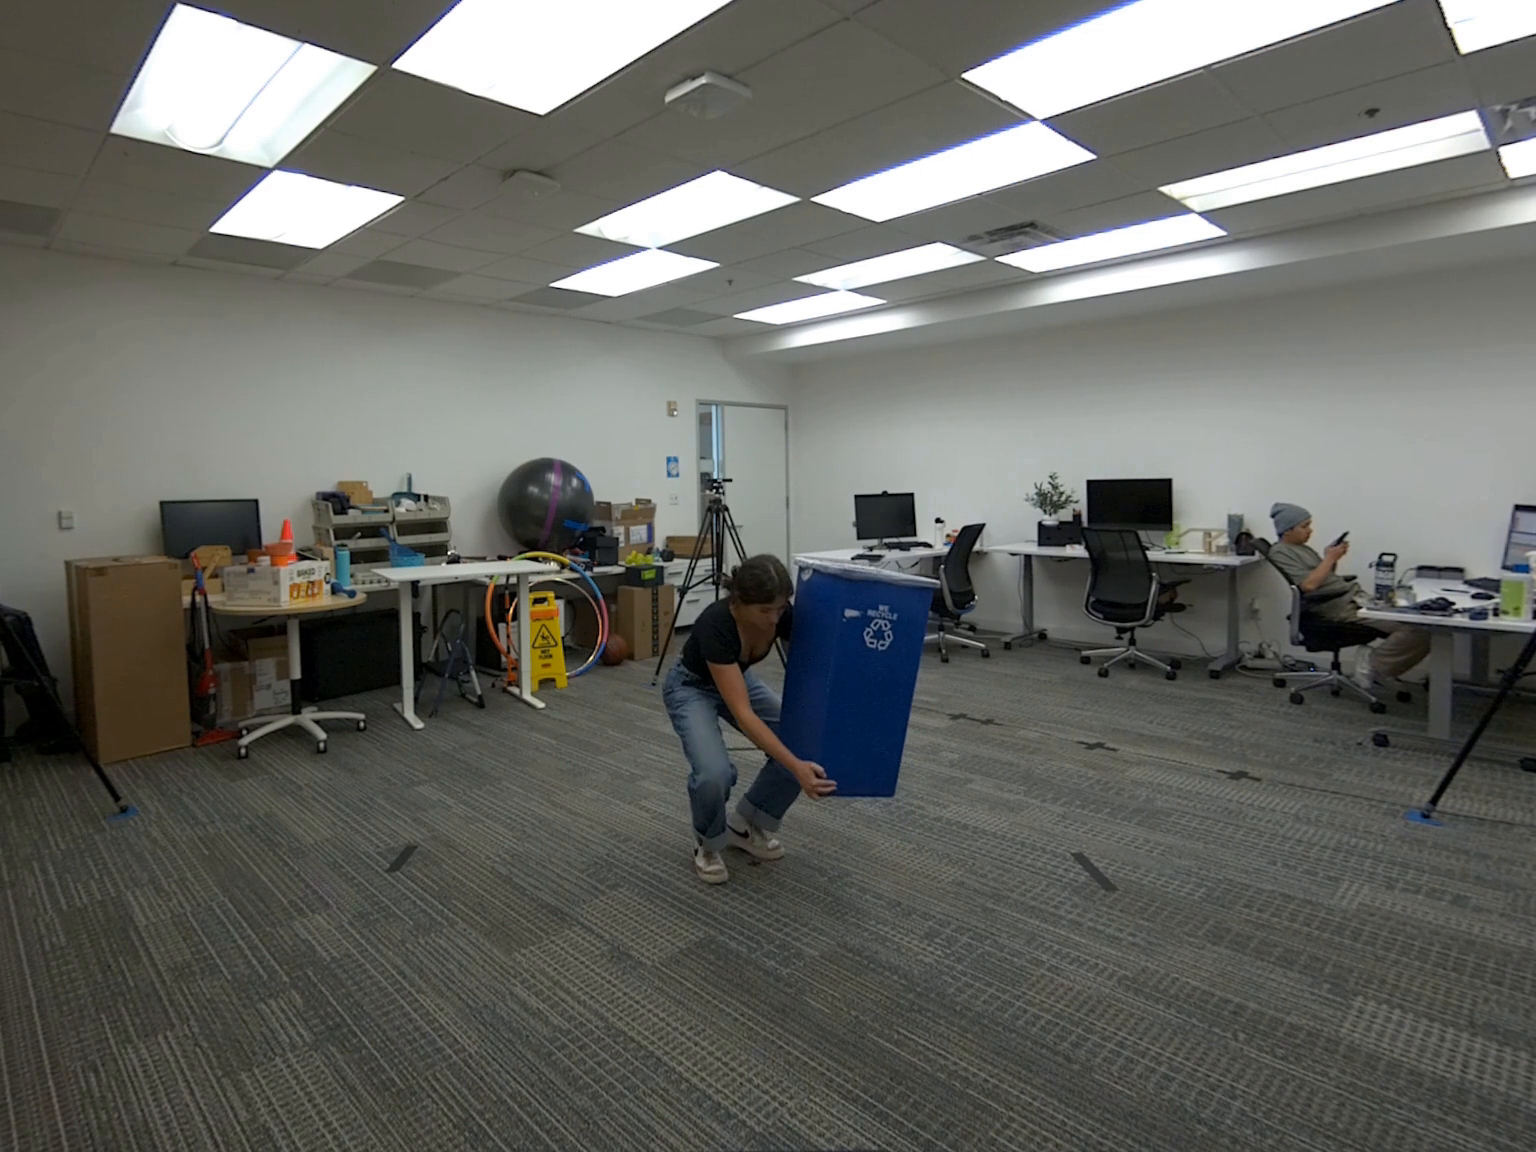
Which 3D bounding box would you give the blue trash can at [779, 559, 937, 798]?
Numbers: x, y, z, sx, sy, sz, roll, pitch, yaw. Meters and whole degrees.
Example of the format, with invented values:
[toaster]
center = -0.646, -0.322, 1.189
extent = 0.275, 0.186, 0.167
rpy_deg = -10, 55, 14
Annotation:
[blue trash can]
center = 0.276, 0.324, 2.829
extent = 0.365, 0.713, 0.387
rpy_deg = 8, 2, -24
